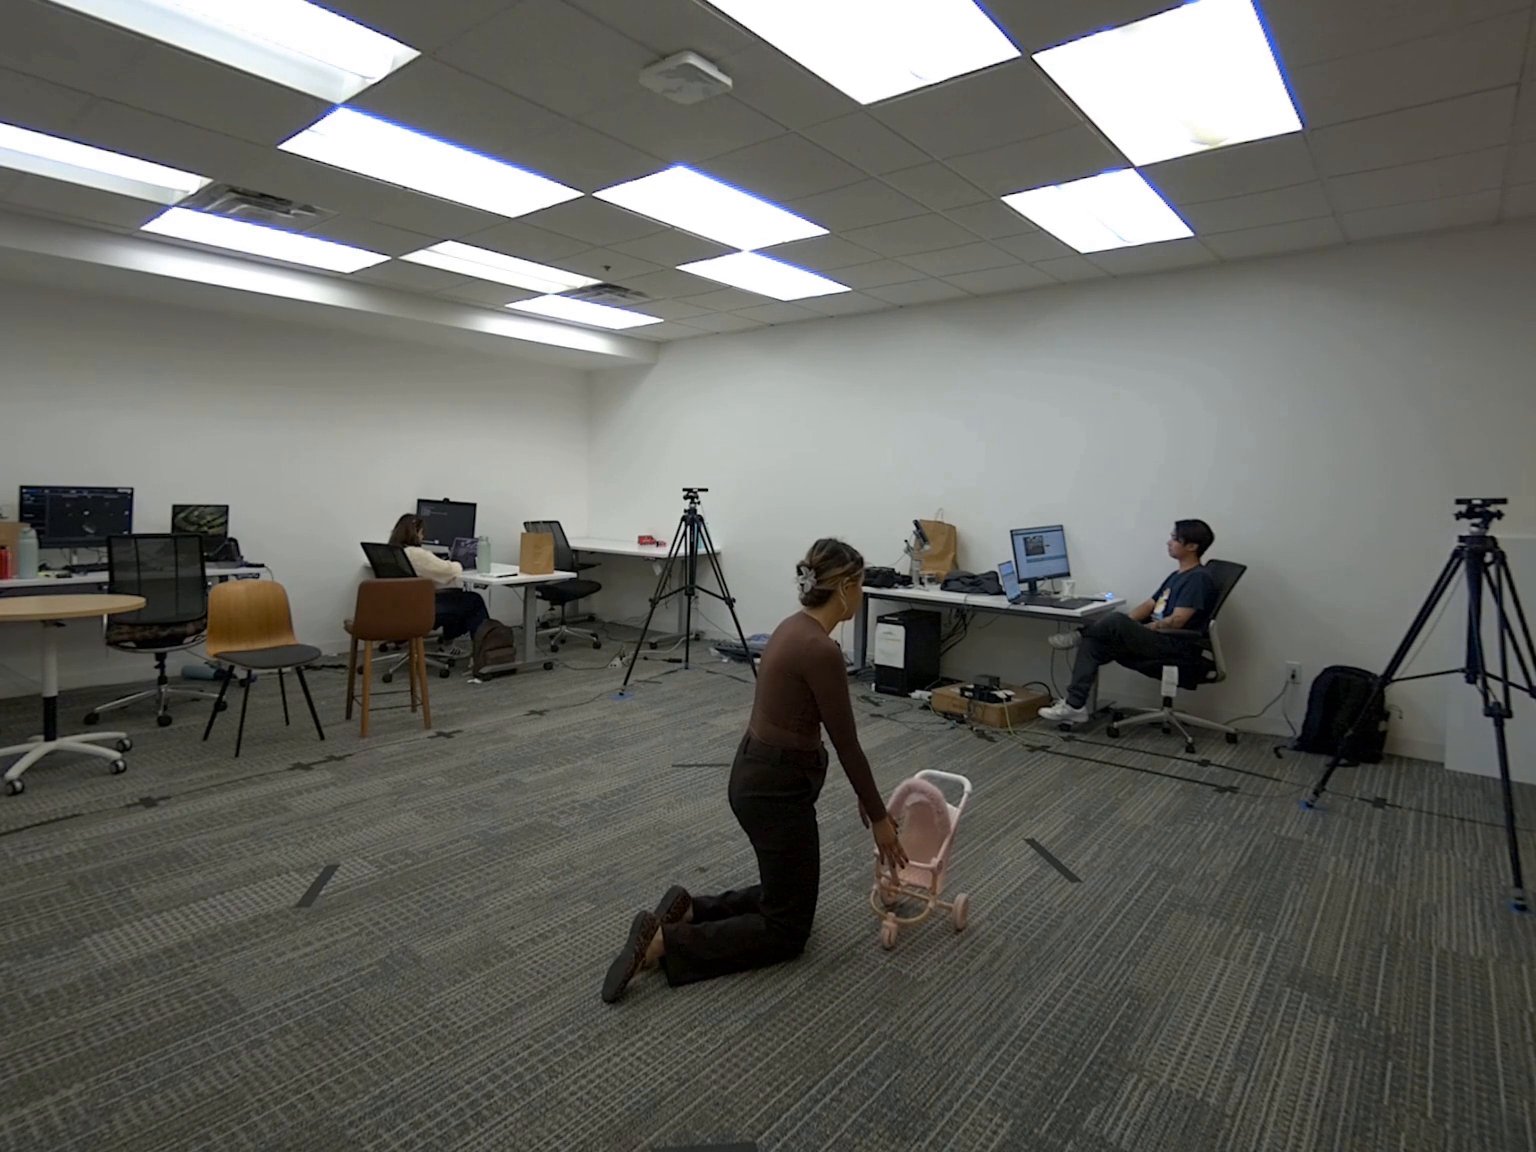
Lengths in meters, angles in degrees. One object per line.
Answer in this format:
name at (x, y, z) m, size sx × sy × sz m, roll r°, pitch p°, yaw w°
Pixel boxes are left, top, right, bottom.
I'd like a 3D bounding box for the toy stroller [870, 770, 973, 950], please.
toy stroller at (0.478, 0.899, 2.747) m, size 0.291 × 0.539 × 0.328 m, roll 3°, pitch -11°, yaw 39°
